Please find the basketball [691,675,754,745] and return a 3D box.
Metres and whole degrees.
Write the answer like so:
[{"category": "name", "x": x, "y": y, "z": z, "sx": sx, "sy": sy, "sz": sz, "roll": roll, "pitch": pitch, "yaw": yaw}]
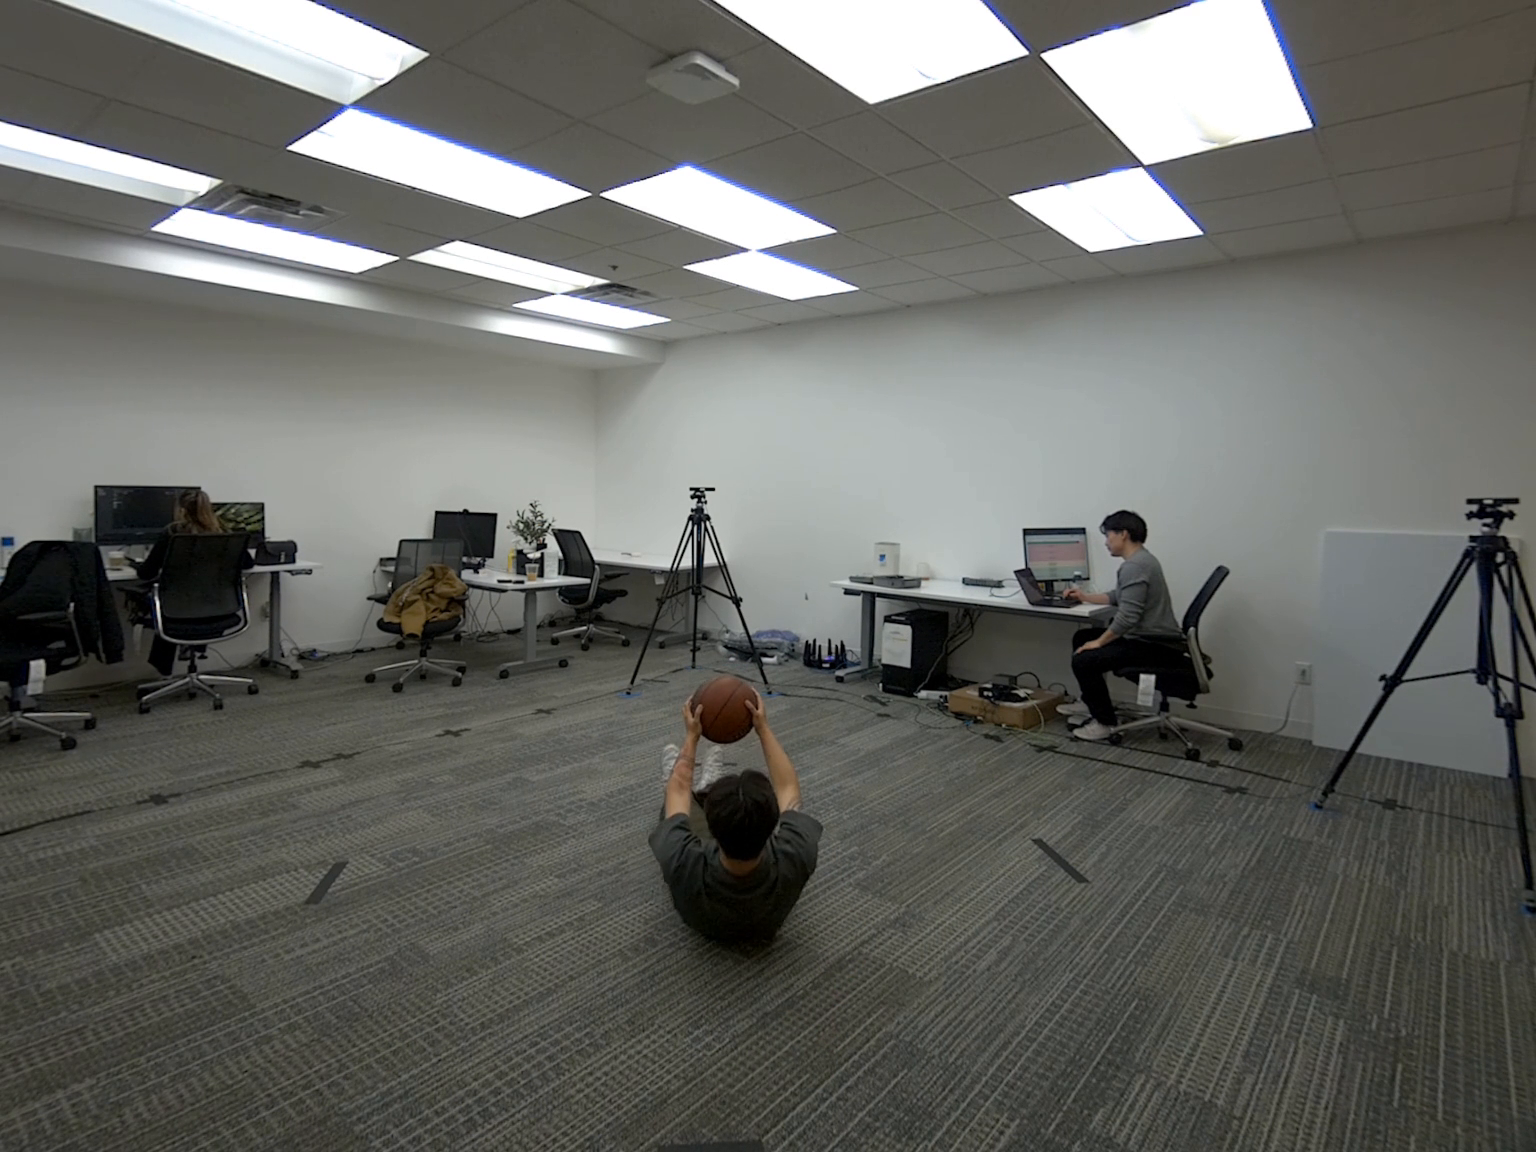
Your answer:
[{"category": "basketball", "x": -0.163, "y": 0.467, "z": 3.012, "sx": 0.235, "sy": 0.235, "sz": 0.237, "roll": 1, "pitch": 4, "yaw": -2}]
